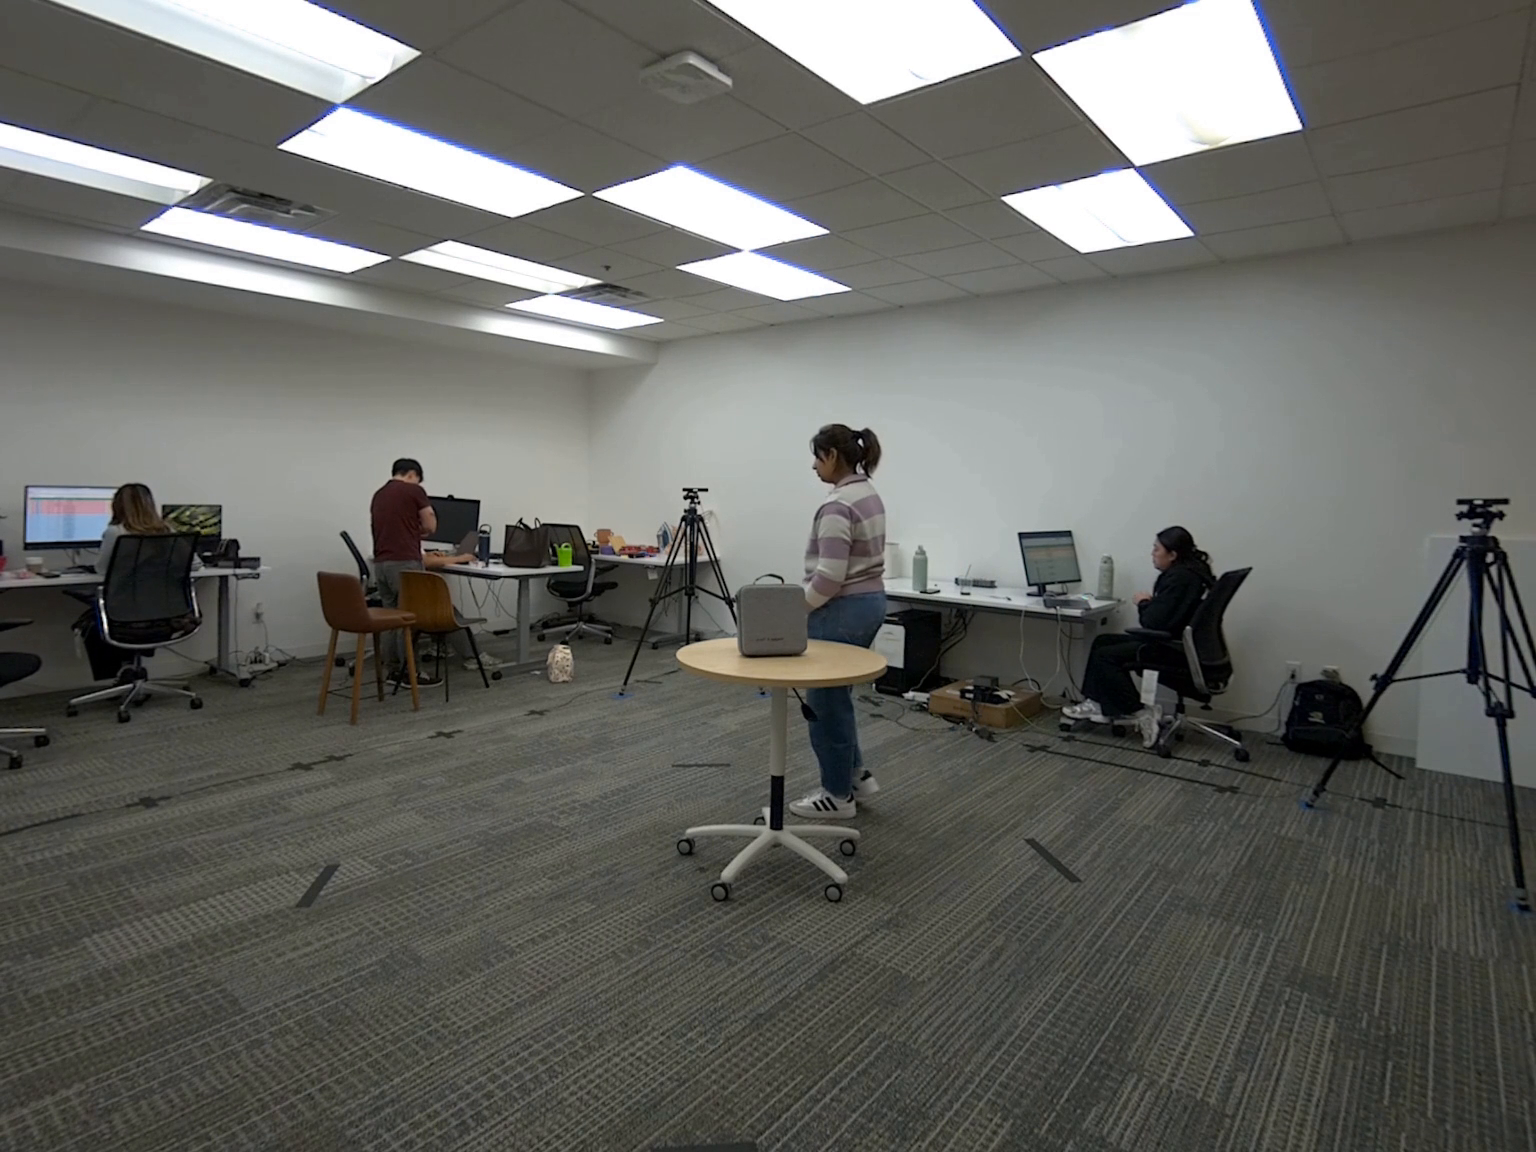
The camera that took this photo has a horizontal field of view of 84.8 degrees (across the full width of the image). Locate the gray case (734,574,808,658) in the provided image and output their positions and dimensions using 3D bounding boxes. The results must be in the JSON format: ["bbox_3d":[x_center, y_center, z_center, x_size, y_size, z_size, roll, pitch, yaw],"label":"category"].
[{"bbox_3d":[0.006,0.156,3.139,0.253,0.262,0.105,0,-5,-12],"label":"gray case"}]
